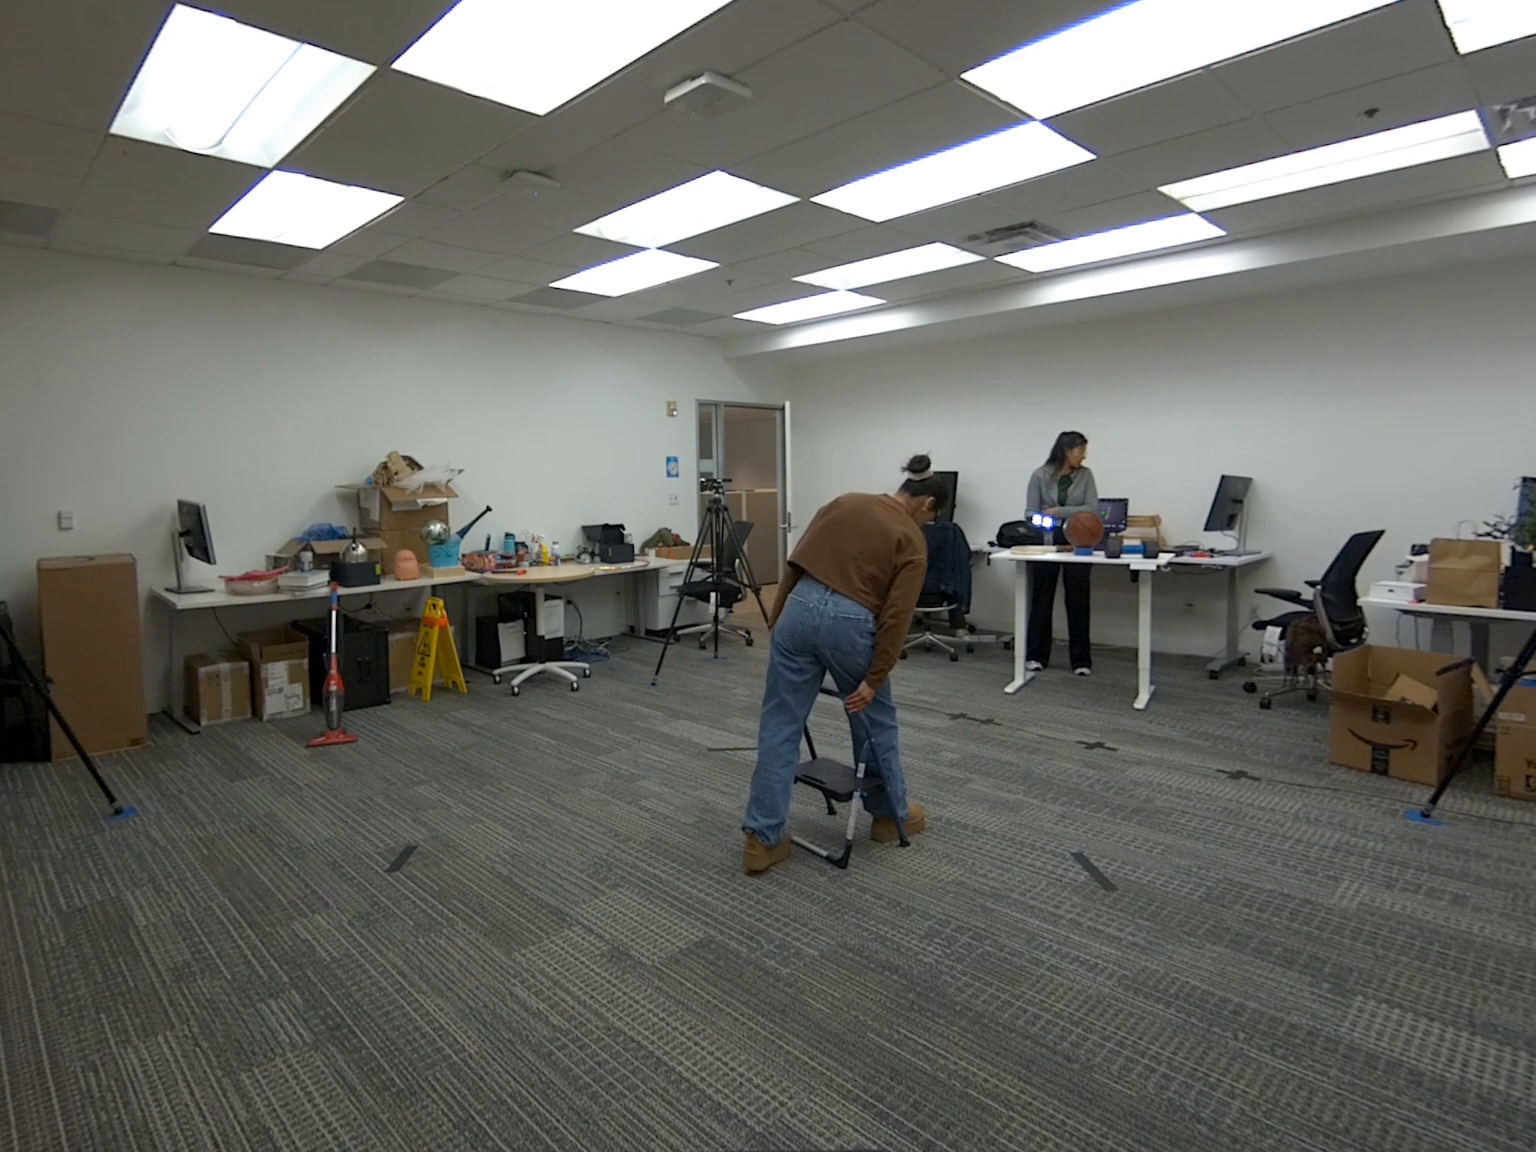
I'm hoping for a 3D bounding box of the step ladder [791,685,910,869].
[{"bbox_3d":[0.264,0.711,3.287,0.340,0.603,0.443,-5,6,-38],"label":"step ladder"}]
